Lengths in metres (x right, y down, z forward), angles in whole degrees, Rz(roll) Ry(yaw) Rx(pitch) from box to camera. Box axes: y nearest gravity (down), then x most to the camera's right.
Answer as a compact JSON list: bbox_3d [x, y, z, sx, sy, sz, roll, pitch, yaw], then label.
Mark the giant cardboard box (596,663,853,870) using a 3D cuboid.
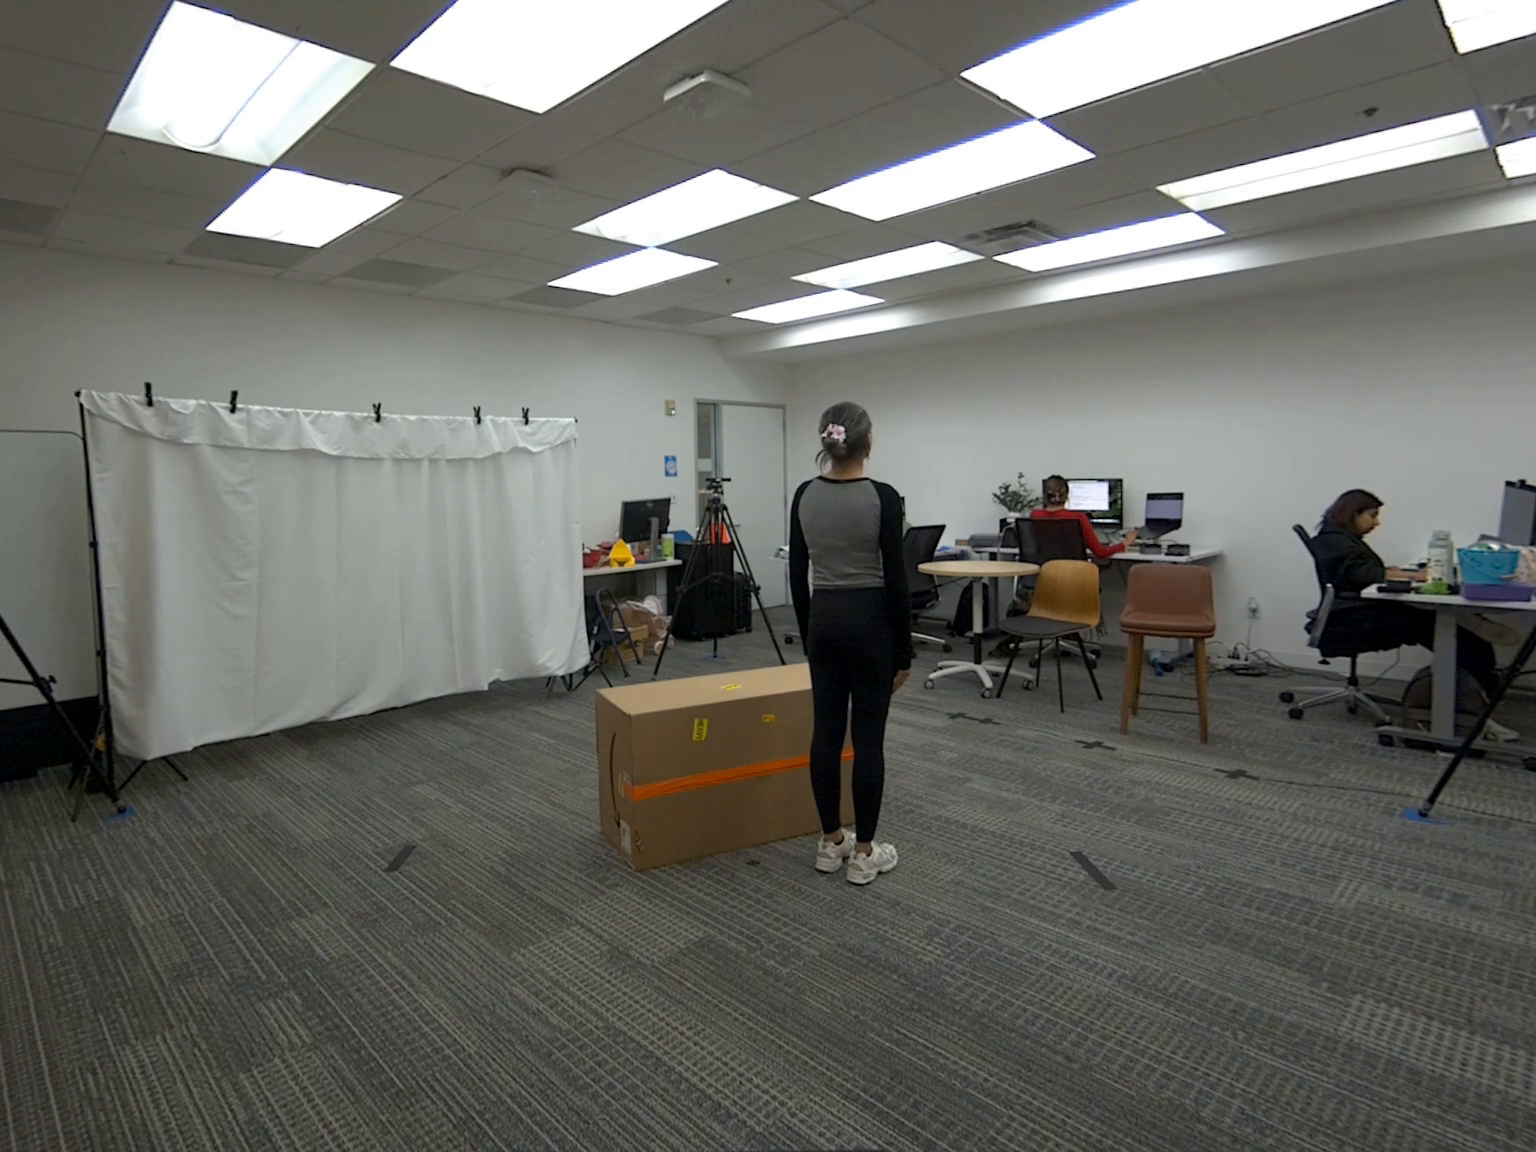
[{"bbox_3d":[-0.135,0.719,3.427,1.005,0.581,0.459,-4,7,-26],"label":"giant cardboard box"}]
